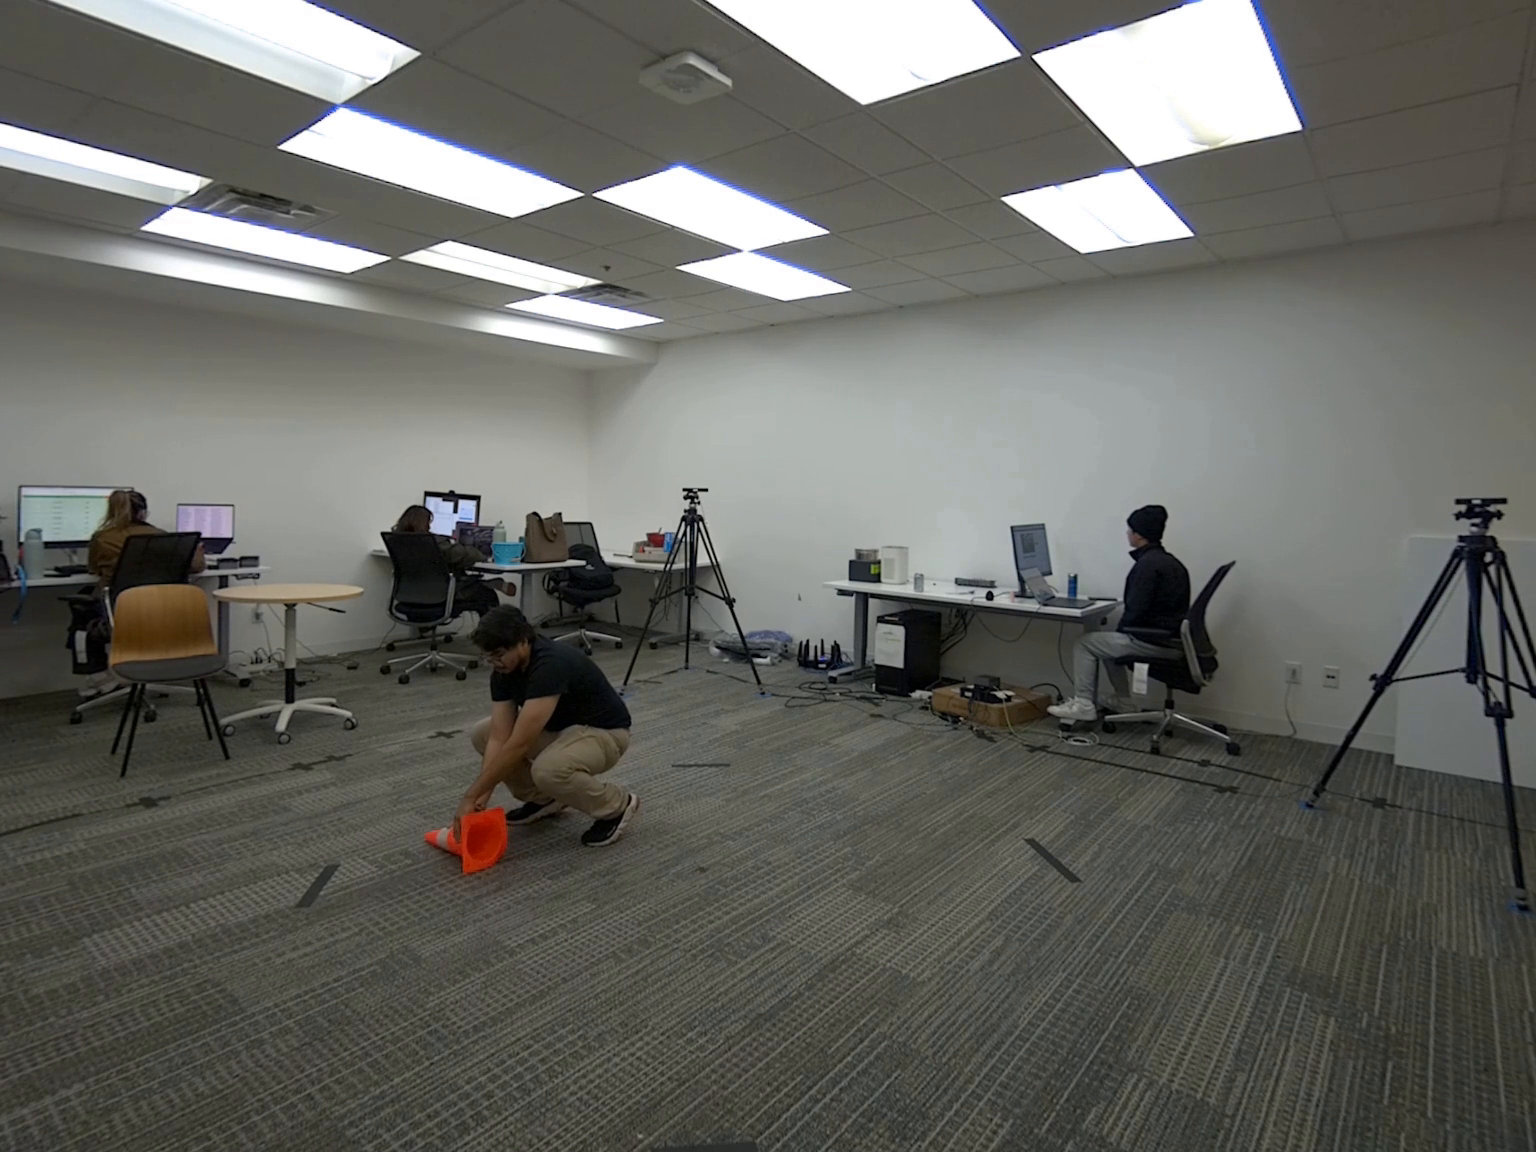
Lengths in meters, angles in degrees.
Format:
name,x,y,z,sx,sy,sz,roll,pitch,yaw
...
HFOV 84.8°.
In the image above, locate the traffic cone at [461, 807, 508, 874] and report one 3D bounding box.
name,x,y,z,sx,sy,sz,roll,pitch,yaw
traffic cone,-1.196,0.984,3.212,0.393,0.207,0.197,-11,-9,36
